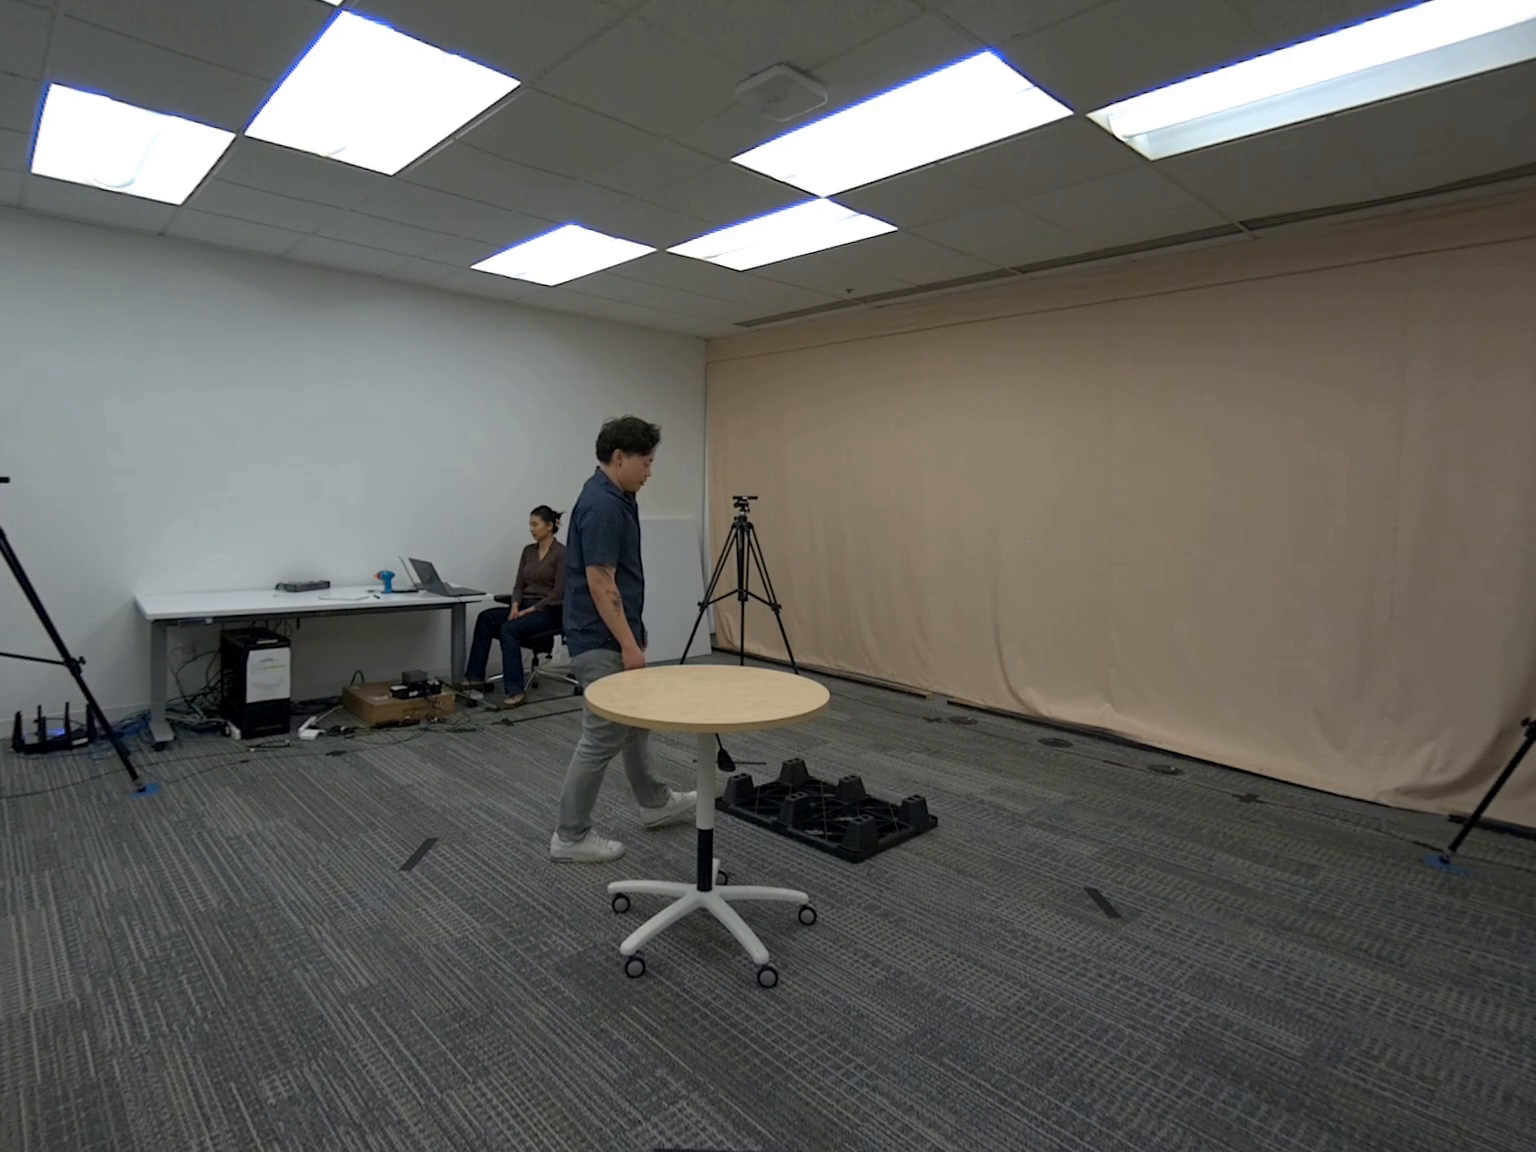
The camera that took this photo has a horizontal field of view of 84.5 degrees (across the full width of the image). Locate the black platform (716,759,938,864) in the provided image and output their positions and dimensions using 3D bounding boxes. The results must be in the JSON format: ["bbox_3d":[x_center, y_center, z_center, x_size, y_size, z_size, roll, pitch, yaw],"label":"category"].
[{"bbox_3d":[0.242,0.991,3.701,0.826,0.143,0.591,6,7,44],"label":"black platform"}]
